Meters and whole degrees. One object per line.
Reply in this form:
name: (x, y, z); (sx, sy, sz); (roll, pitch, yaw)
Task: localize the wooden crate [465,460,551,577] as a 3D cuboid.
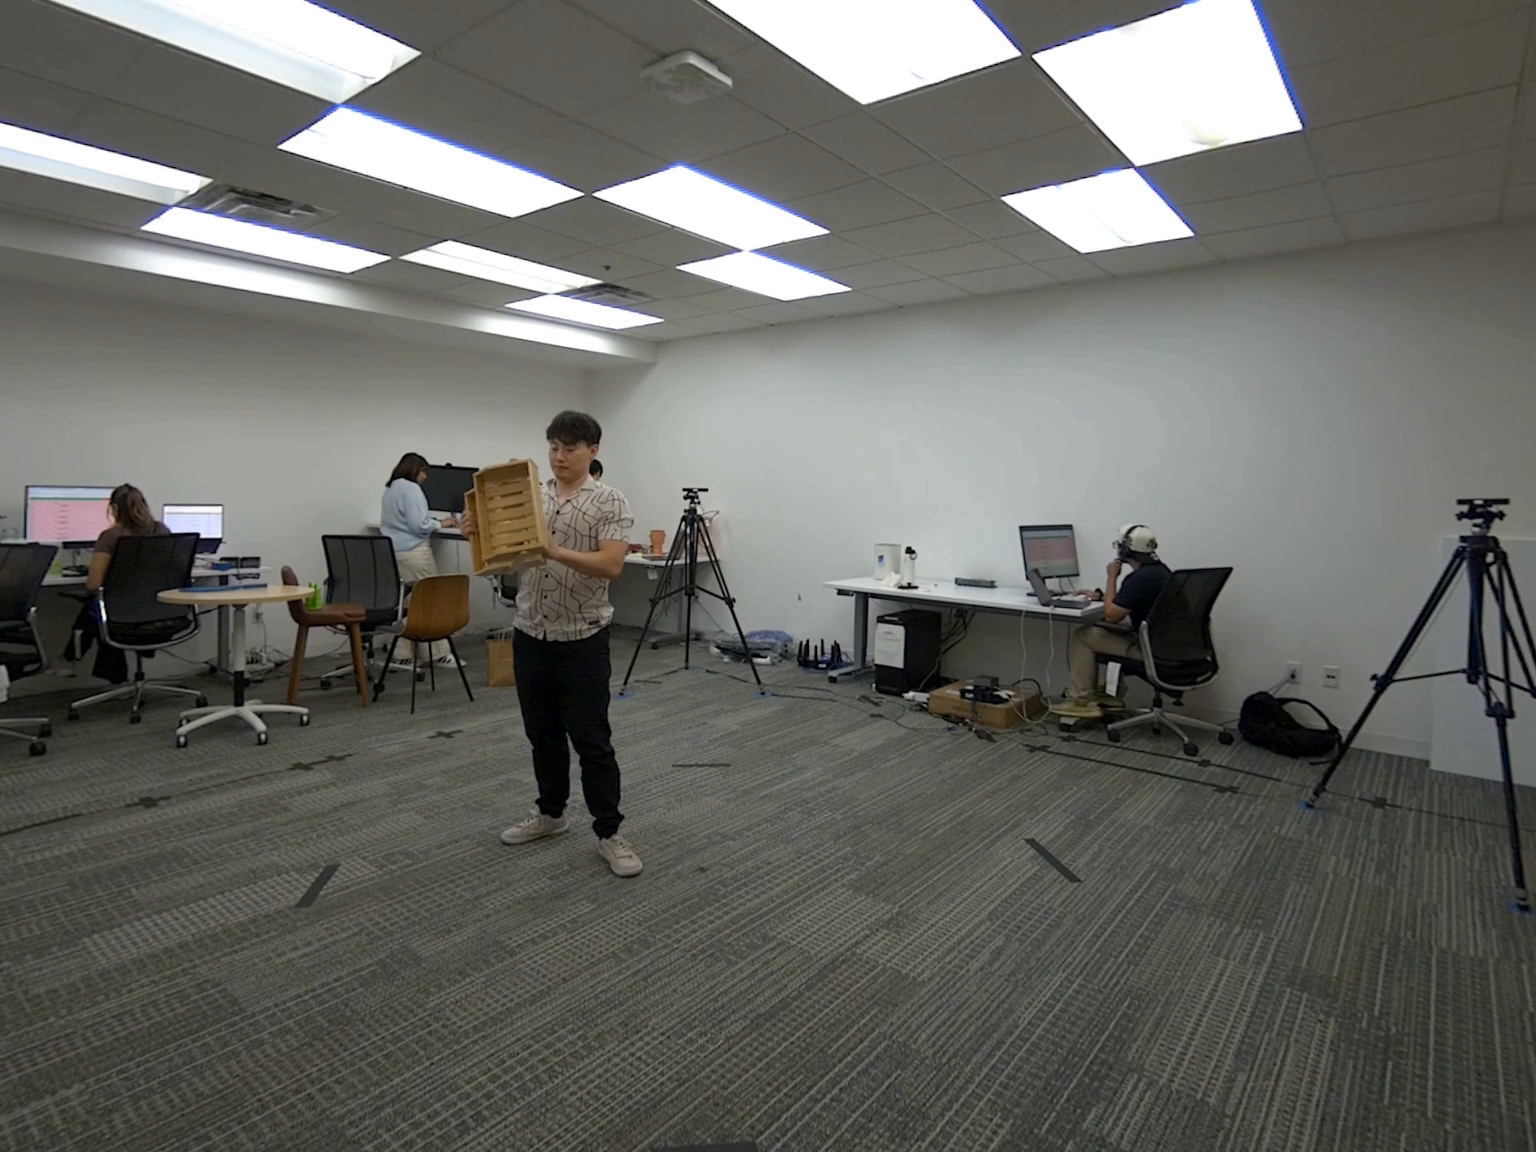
wooden crate: (-0.919, -0.192, 2.879); (0.301, 0.329, 0.270); (-12, -12, -2)
